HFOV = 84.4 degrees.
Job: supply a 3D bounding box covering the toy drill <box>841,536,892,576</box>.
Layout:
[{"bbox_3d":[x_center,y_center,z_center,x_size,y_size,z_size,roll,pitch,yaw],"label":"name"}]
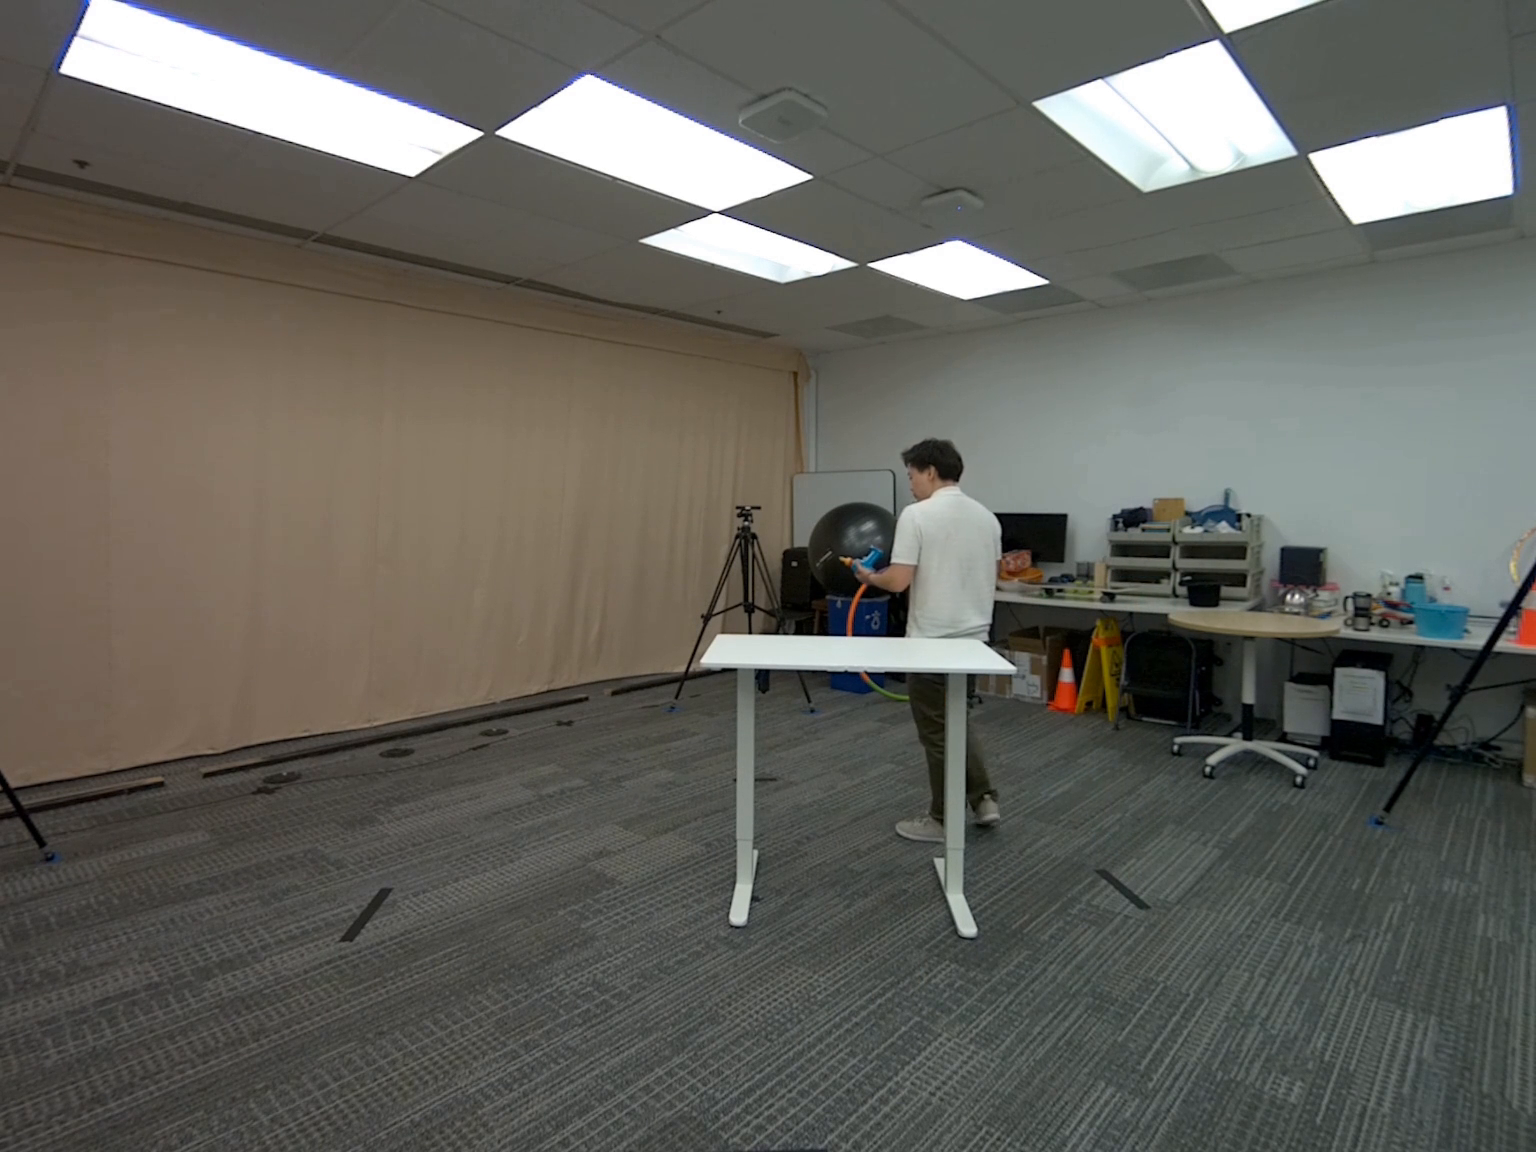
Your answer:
[{"bbox_3d":[0.434,-0.074,3.714,0.175,0.145,0.059,25,-24,27],"label":"toy drill"}]
